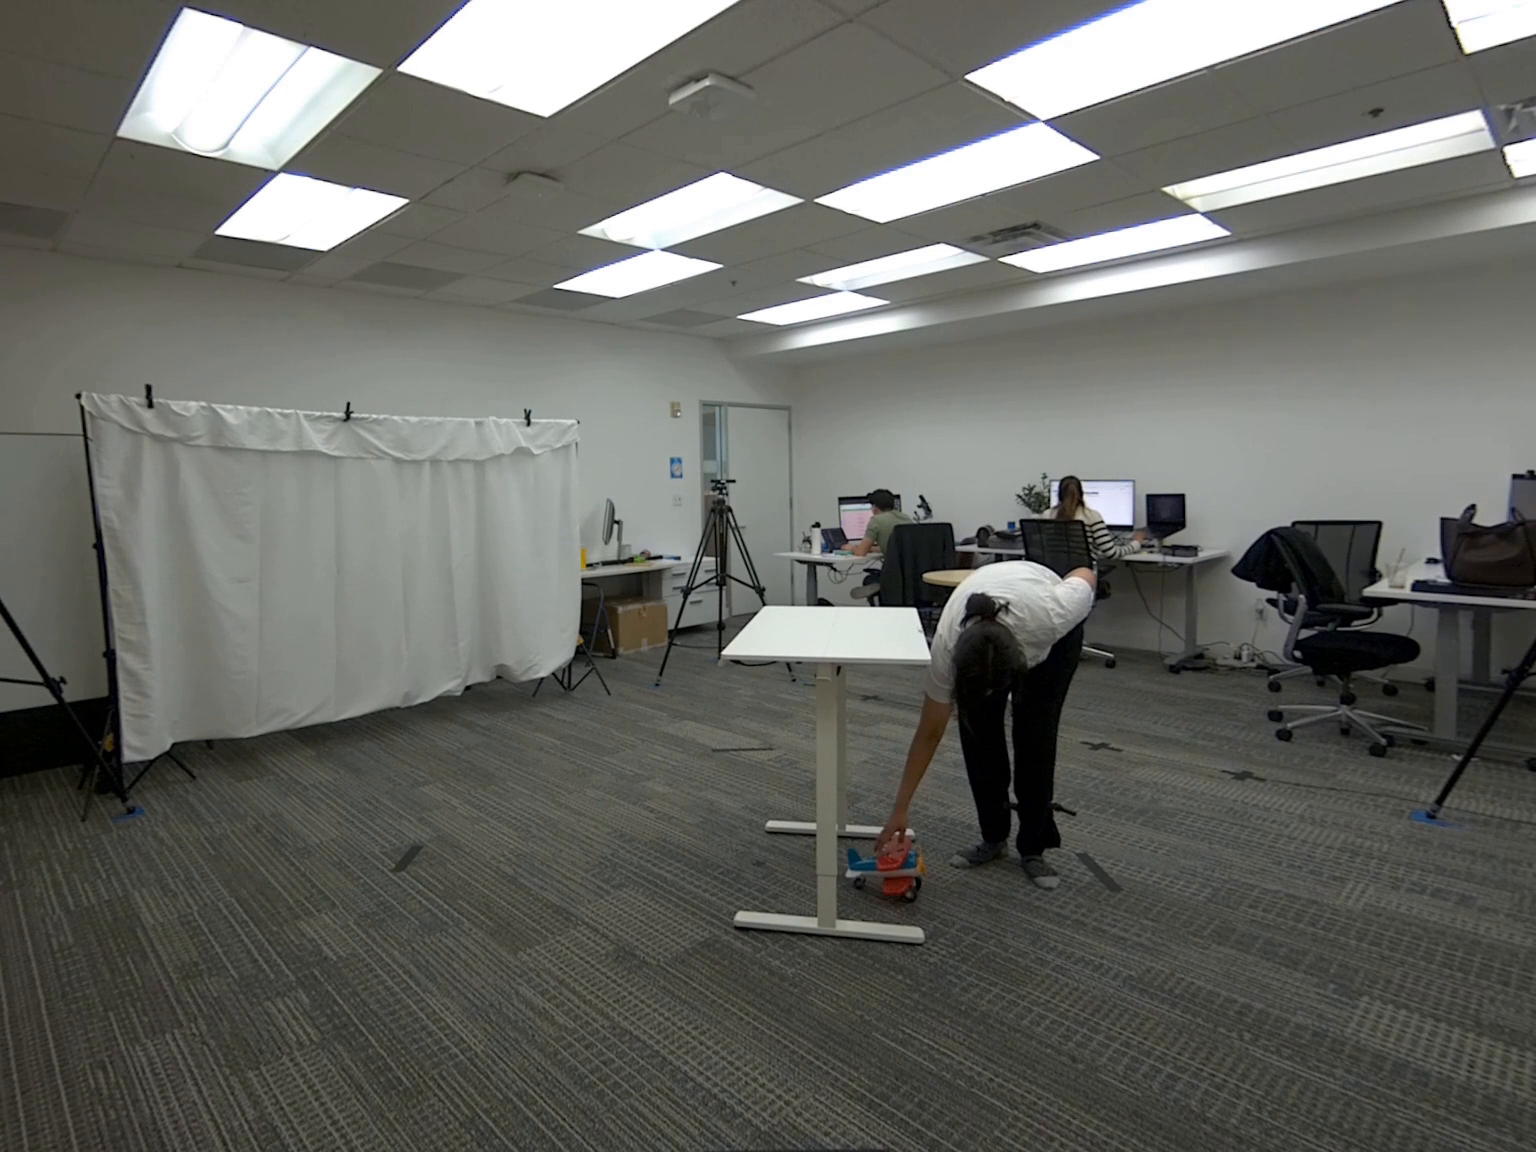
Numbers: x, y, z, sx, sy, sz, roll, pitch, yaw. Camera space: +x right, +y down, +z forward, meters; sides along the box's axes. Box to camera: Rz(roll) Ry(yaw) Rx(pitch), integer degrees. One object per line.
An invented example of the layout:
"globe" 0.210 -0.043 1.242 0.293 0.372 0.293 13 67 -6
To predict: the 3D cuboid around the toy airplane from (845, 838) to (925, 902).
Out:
"toy airplane" 0.404 0.997 2.855 0.257 0.156 0.254 -1 5 -8
